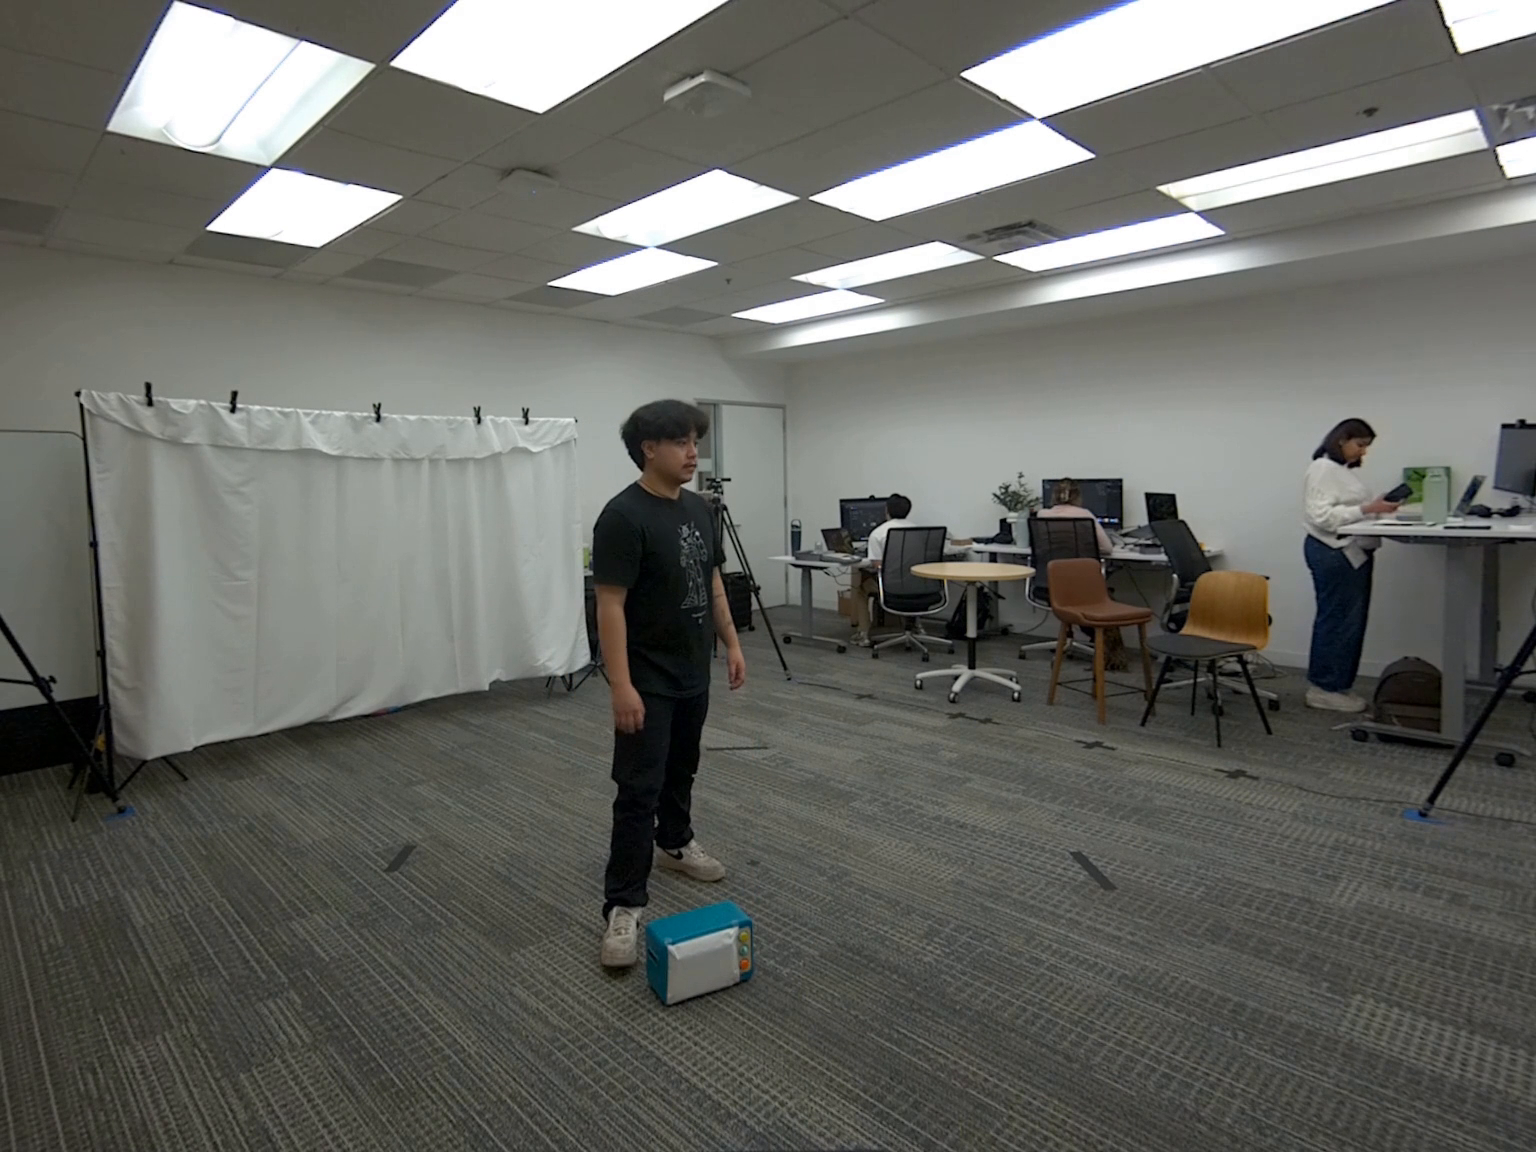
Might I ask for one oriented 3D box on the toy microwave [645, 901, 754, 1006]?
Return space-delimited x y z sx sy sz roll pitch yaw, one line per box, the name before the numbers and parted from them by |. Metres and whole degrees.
toy microwave | -0.185 1.046 2.363 0.280 0.183 0.156 -5 6 -28
